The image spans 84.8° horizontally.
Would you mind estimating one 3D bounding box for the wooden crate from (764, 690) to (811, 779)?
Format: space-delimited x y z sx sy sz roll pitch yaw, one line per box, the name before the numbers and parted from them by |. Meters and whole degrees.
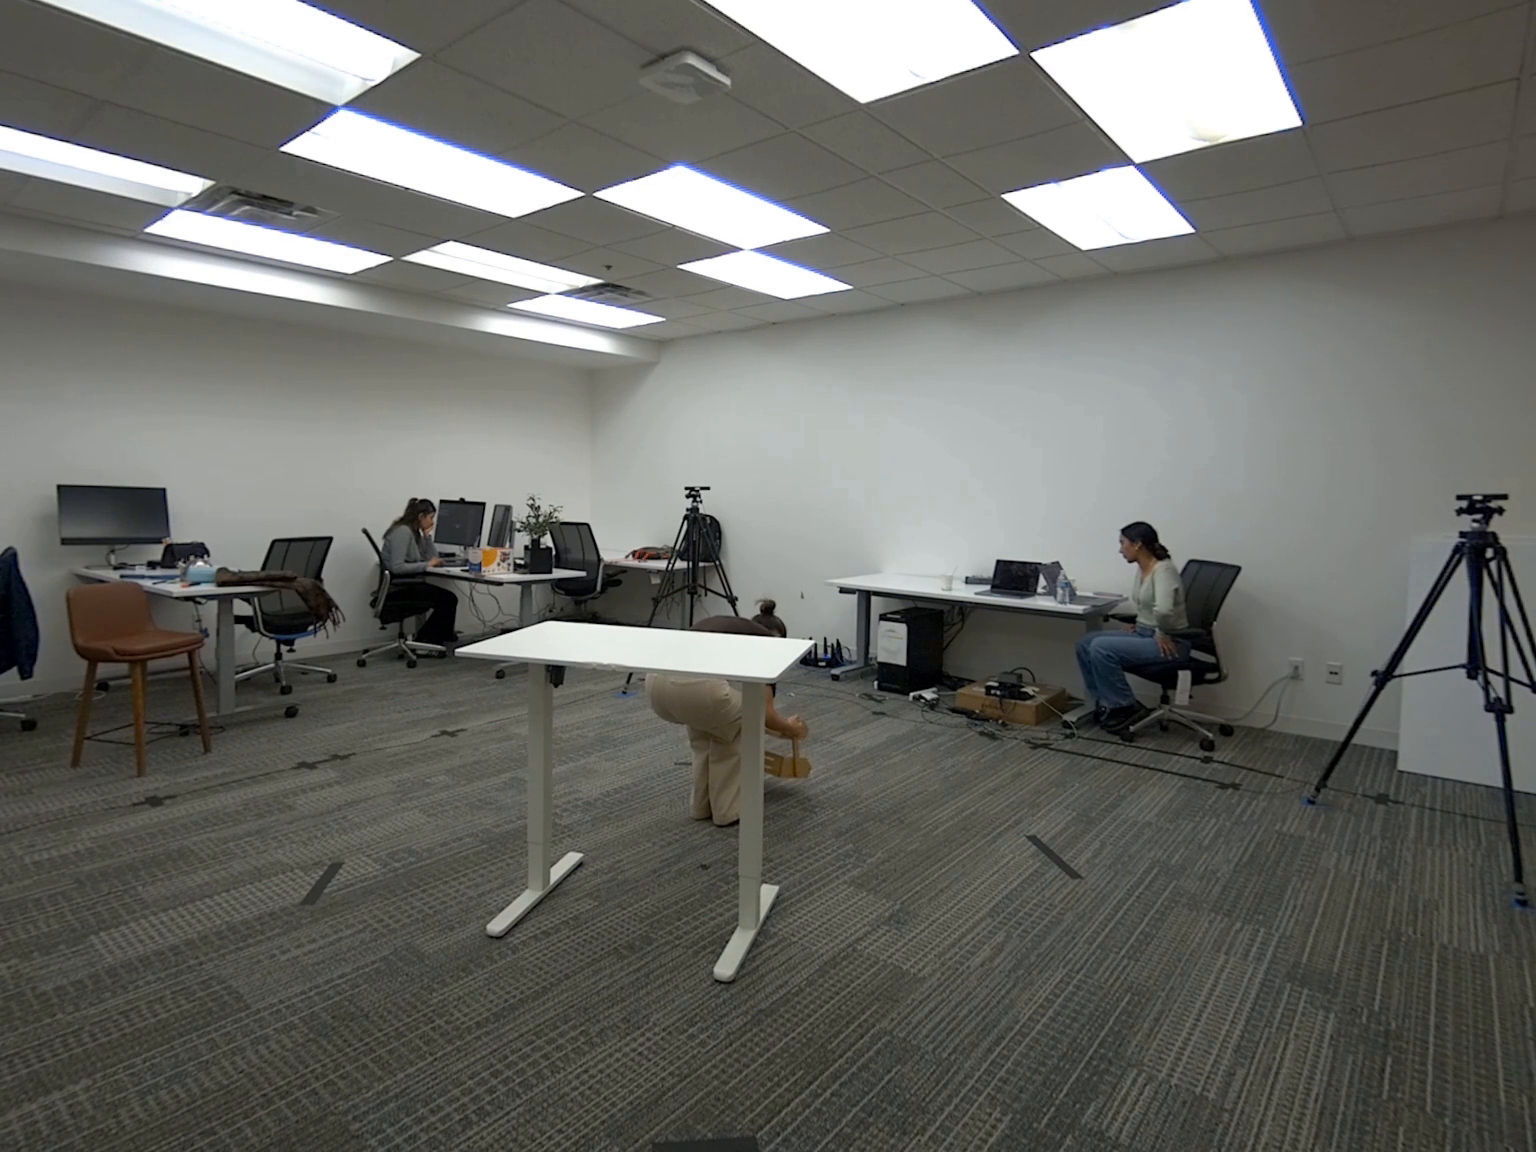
wooden crate | 0.008 0.749 3.898 0.336 0.274 0.290 8 -6 37
